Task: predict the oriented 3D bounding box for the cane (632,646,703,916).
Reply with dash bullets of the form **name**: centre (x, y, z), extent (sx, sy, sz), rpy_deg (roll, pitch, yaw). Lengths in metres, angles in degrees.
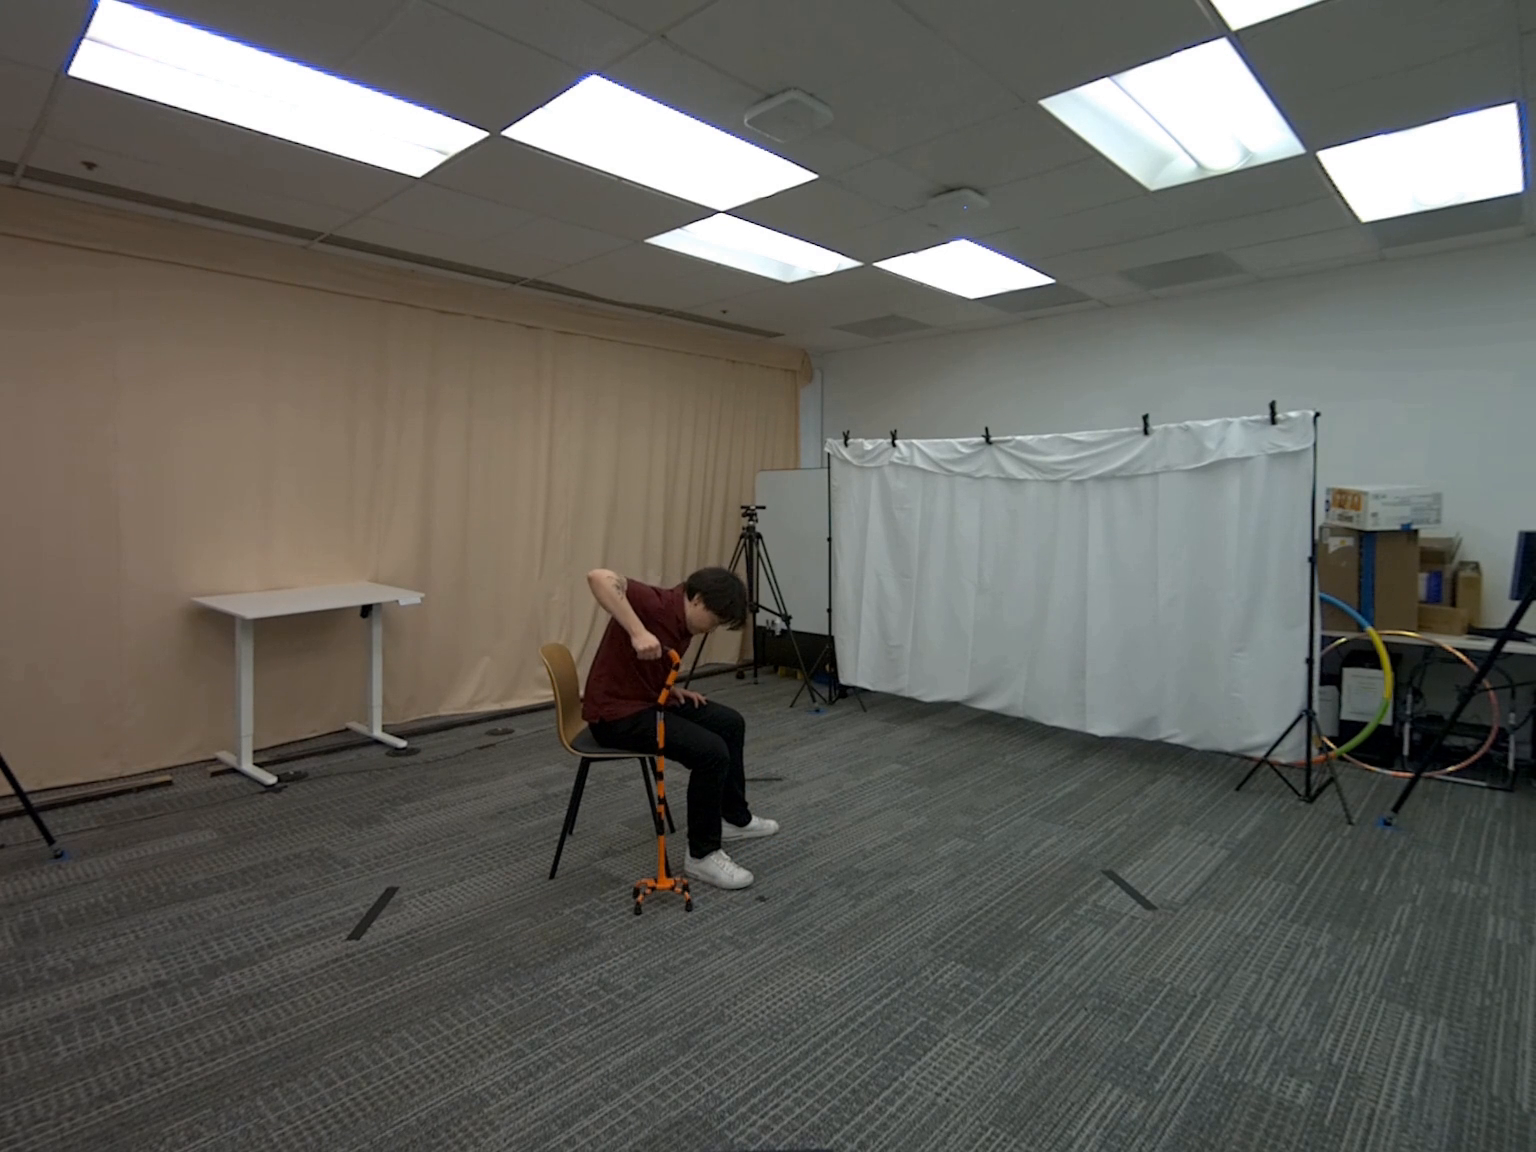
- **cane**: centre (-0.366, 0.682, 2.912), extent (0.204, 0.905, 0.154), rpy_deg (-1, 5, -12)
